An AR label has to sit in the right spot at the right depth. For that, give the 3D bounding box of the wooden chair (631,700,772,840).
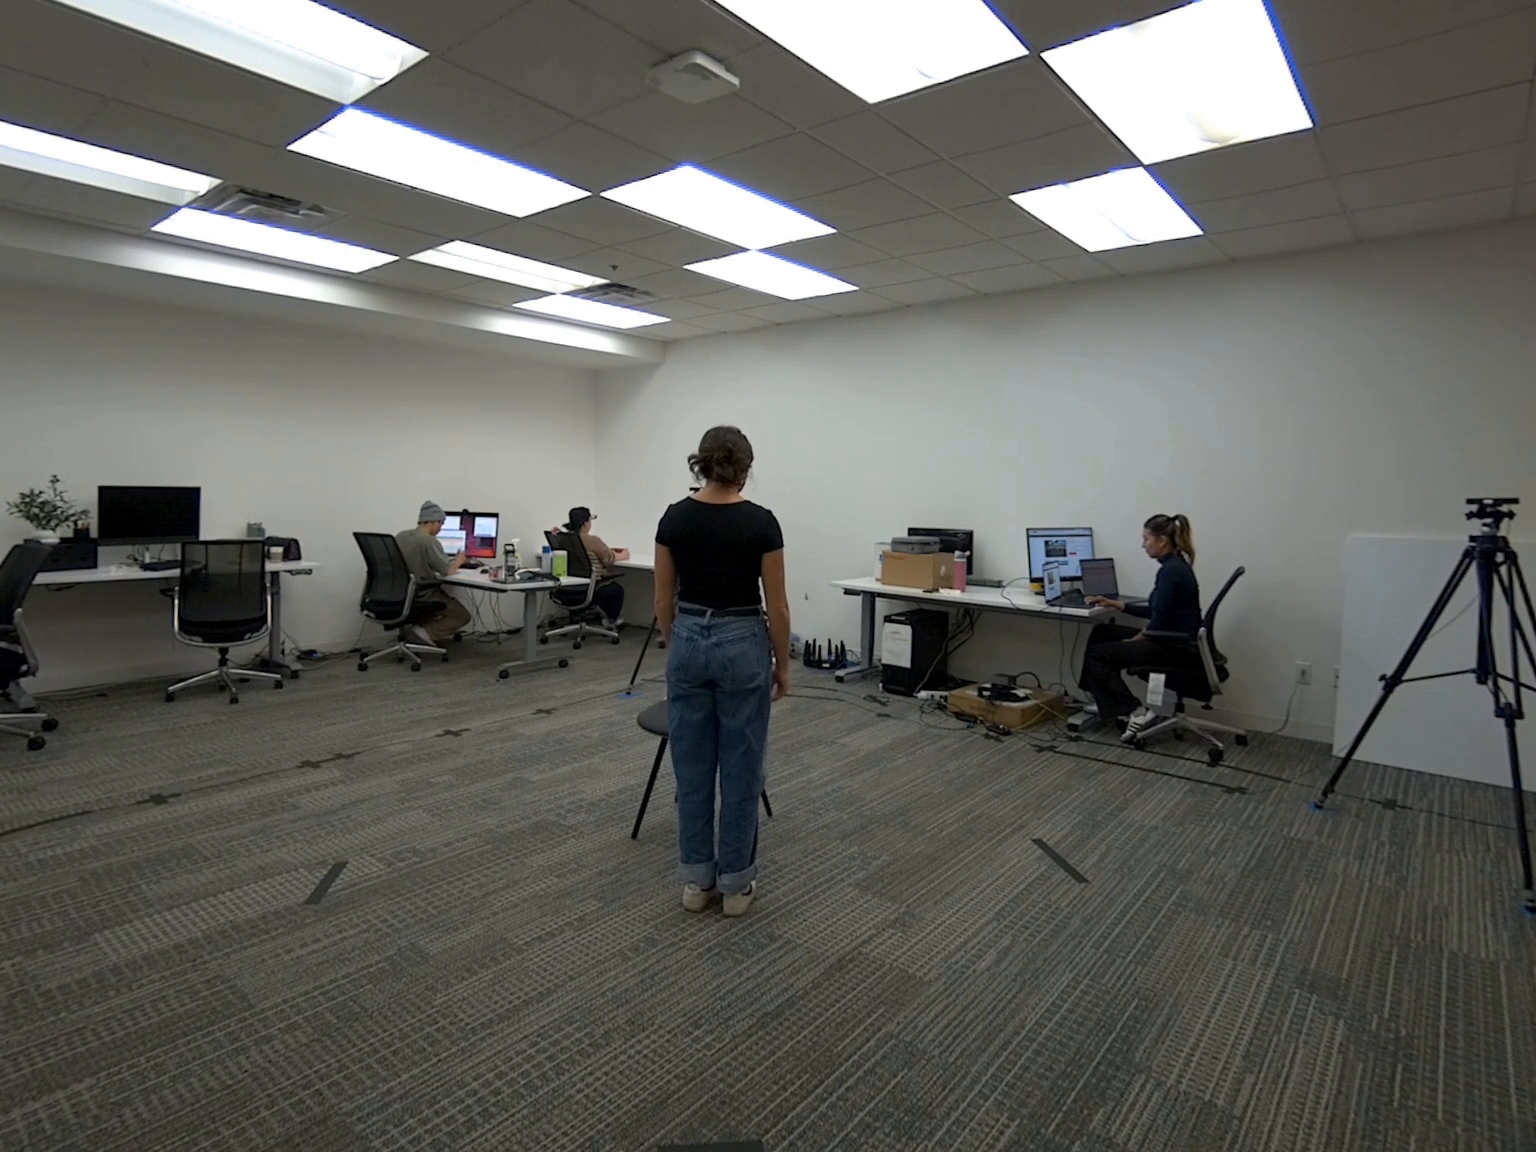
[{"bbox_3d":[-0.263,0.599,3.456,0.488,0.878,0.512,2,-1,19],"label":"wooden chair"}]
